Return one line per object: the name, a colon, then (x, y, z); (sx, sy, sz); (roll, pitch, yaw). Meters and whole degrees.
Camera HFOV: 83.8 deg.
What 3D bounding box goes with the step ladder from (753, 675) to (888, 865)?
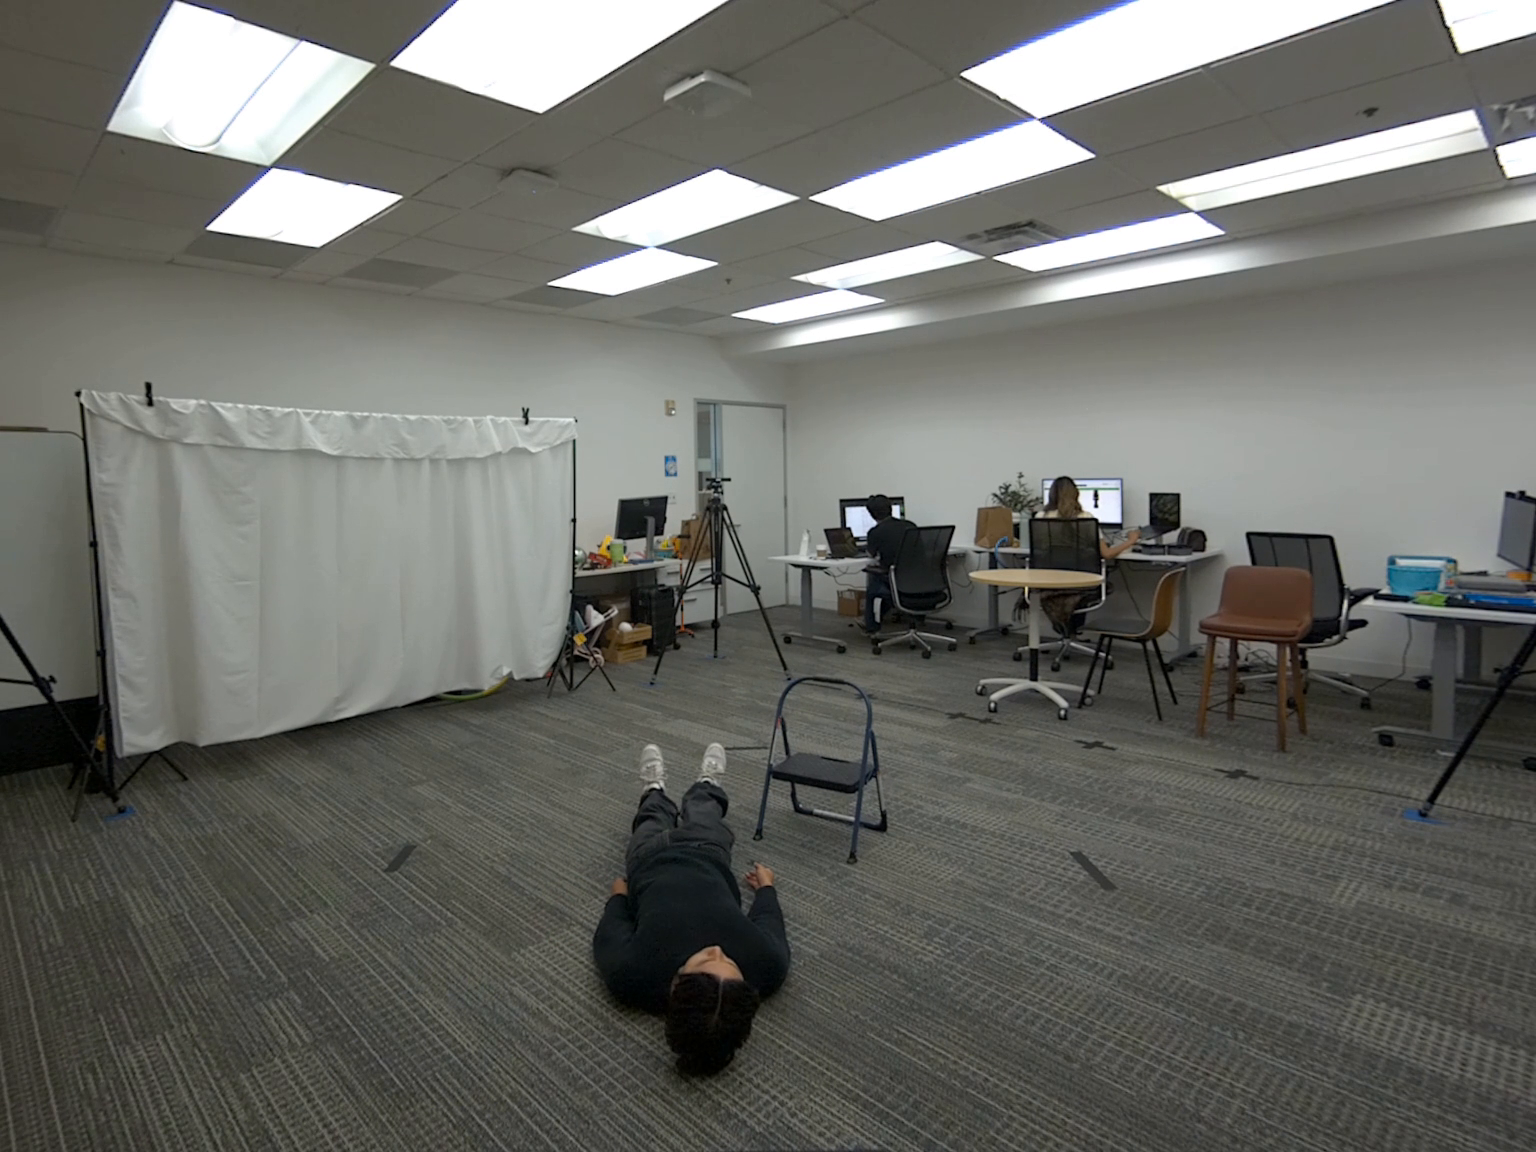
step ladder: (0.210, 0.709, 3.321); (0.442, 0.603, 0.341); (2, 6, 32)
